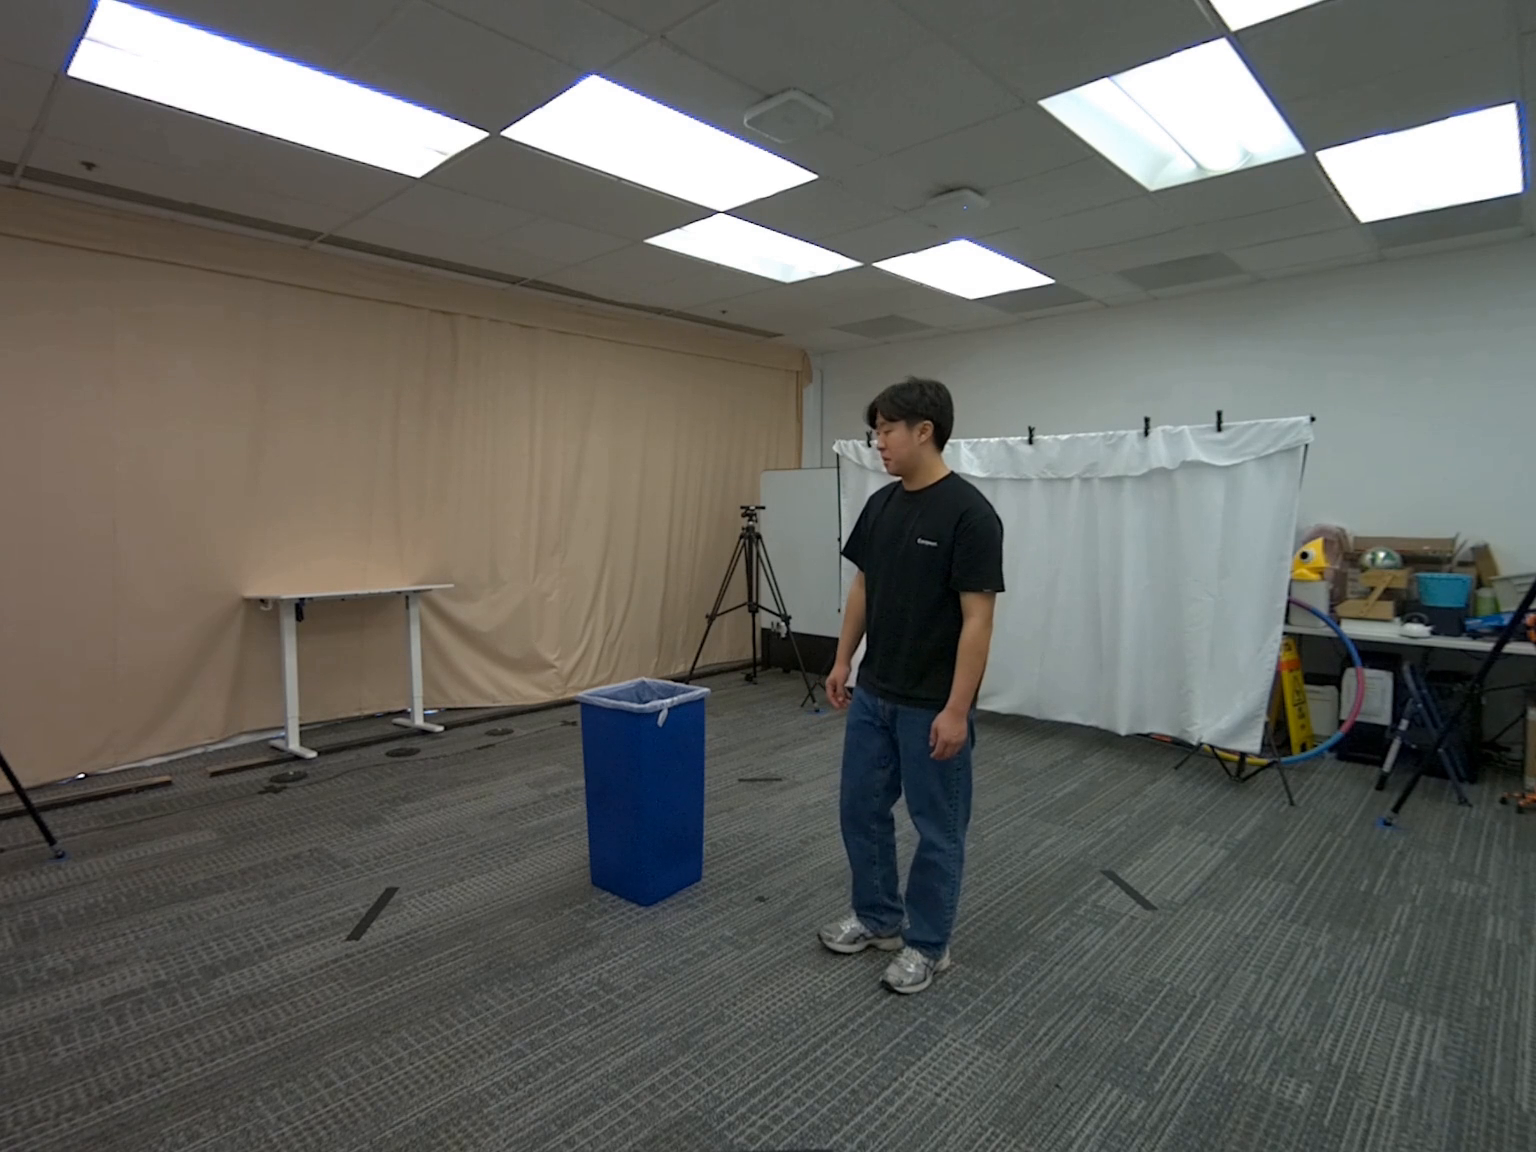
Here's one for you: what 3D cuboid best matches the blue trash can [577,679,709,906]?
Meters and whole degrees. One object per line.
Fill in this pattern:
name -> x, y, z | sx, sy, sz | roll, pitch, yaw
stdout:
blue trash can -> -0.461, 0.778, 3.113 | 0.386, 0.712, 0.366 | 2, 4, 39
